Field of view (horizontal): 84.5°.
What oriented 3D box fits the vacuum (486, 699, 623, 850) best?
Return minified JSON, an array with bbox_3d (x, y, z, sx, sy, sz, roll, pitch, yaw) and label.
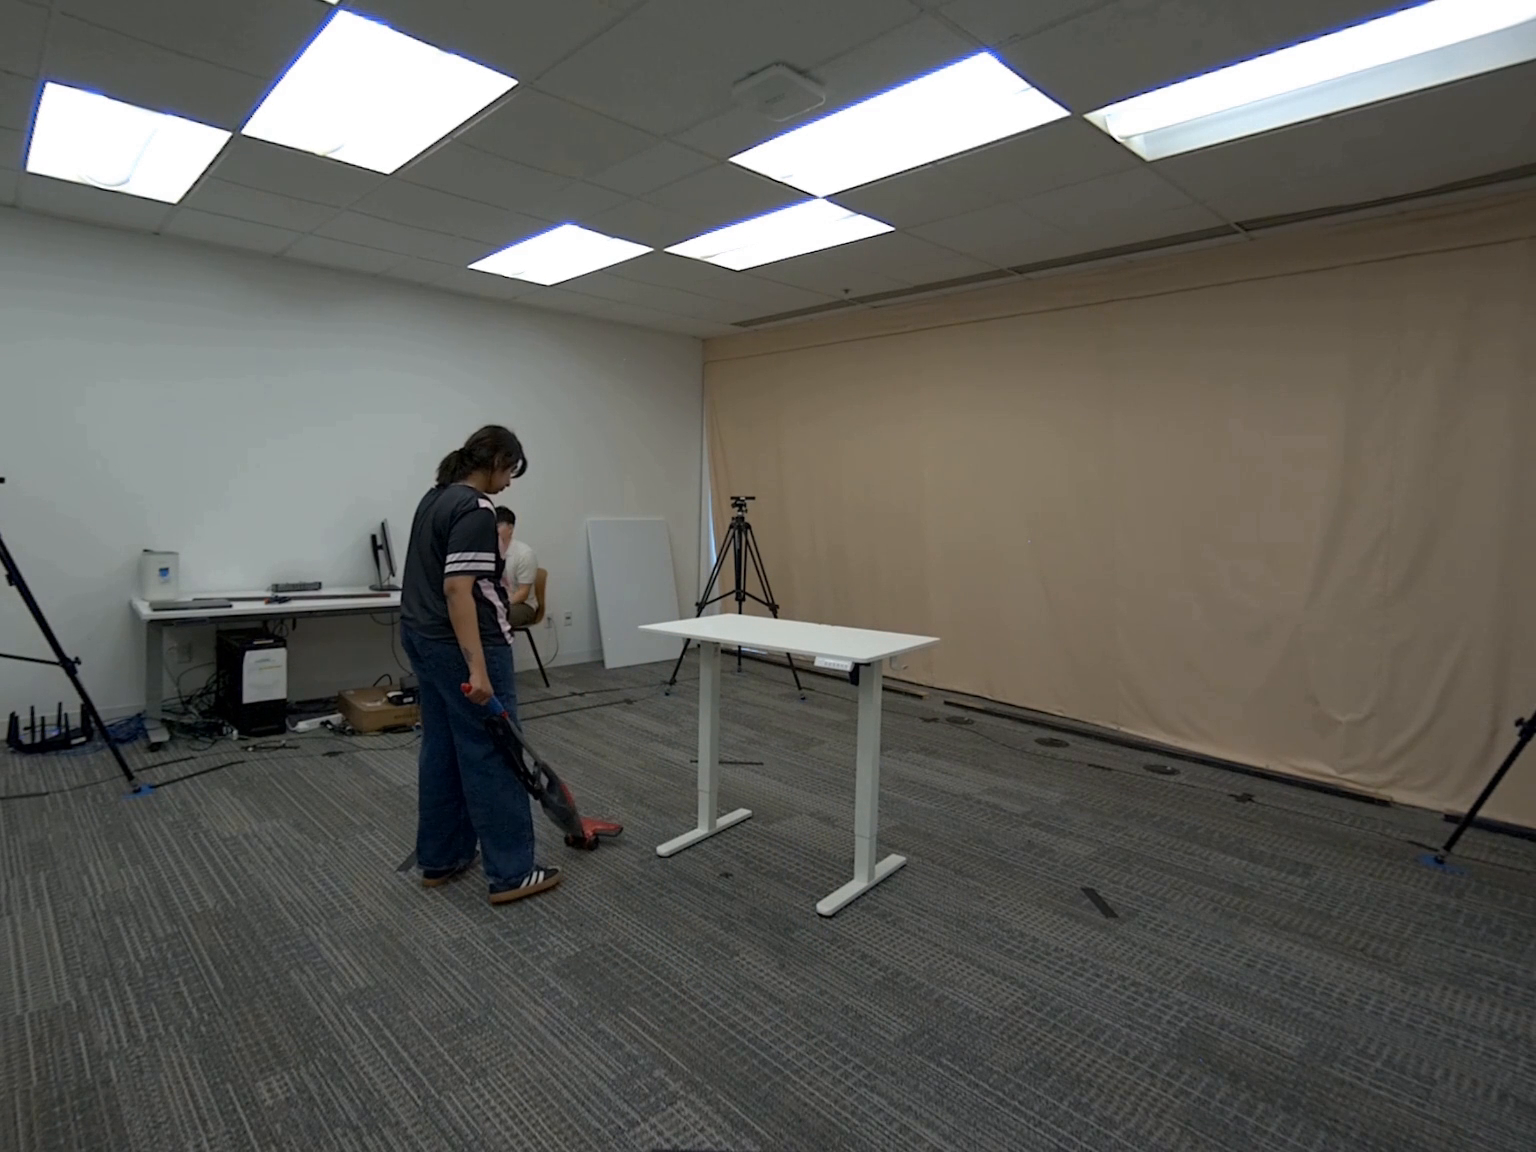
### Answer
[{"bbox_3d":[-0.843,0.711,3.027,0.257,0.146,1.019,2,-40,21],"label":"vacuum"}]
